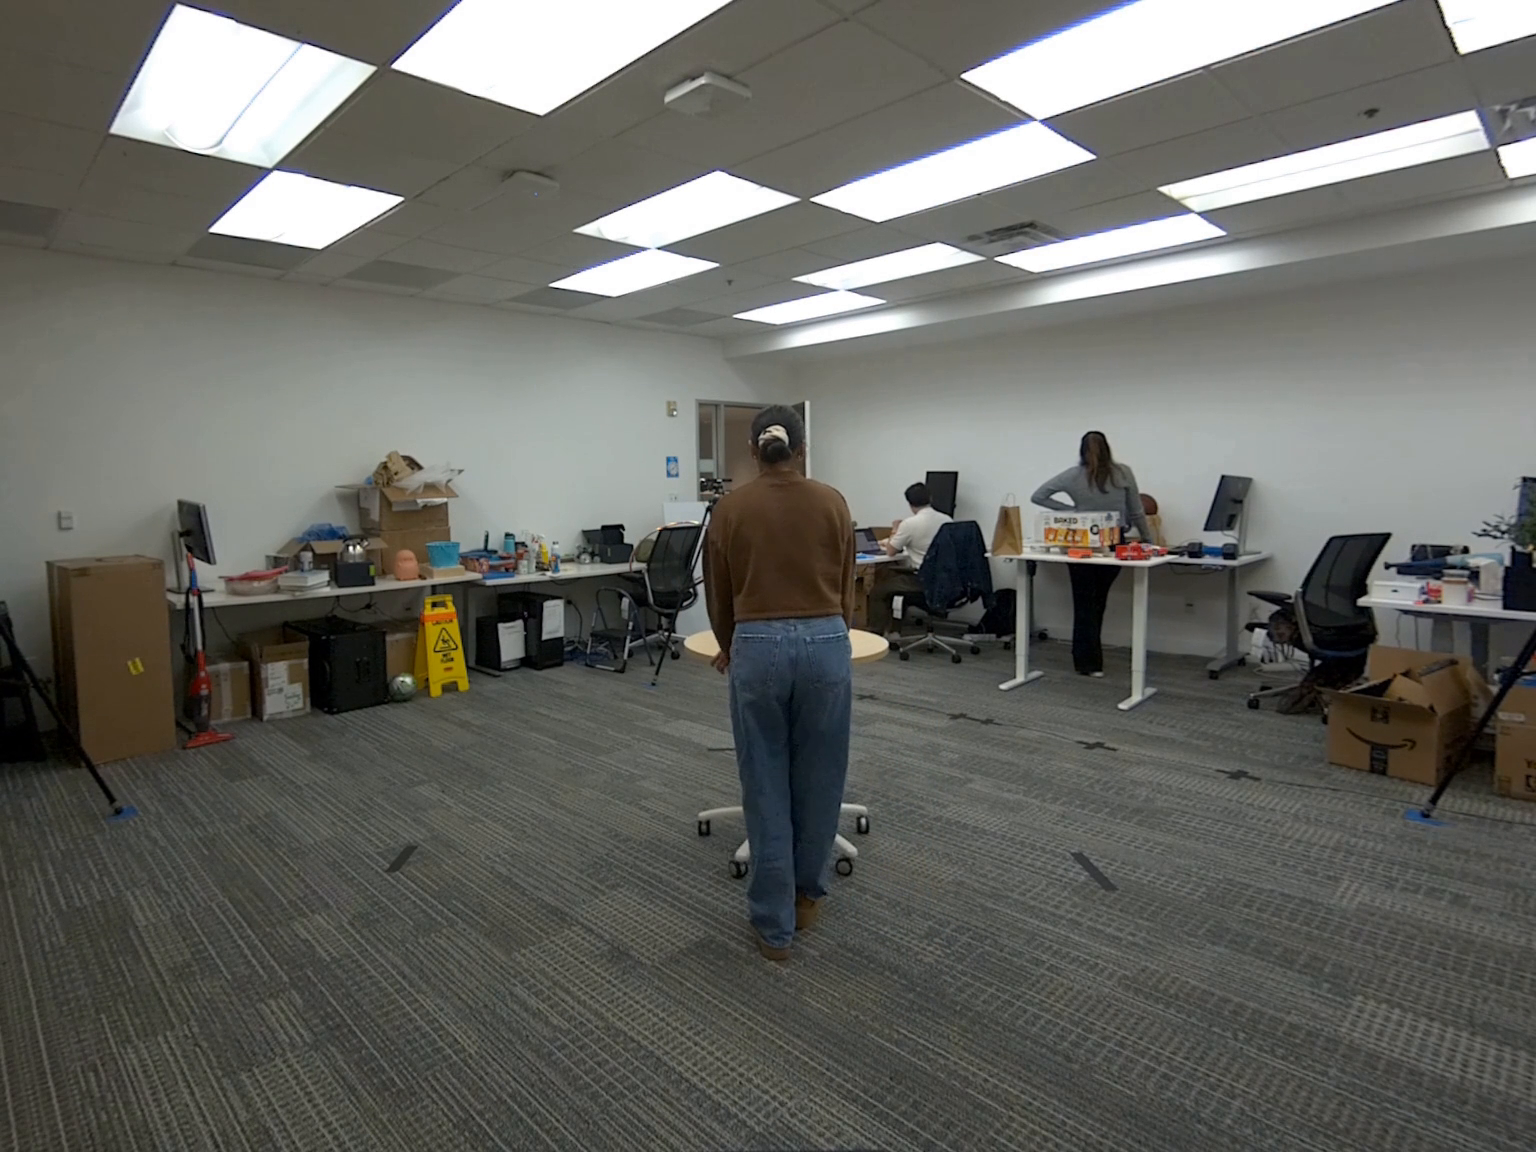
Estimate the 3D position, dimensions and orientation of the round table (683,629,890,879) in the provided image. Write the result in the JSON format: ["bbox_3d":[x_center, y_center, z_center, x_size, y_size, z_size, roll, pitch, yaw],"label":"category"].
[{"bbox_3d":[0.075,0.634,3.262,0.784,0.783,0.789,-1,5,-2],"label":"round table"}]
